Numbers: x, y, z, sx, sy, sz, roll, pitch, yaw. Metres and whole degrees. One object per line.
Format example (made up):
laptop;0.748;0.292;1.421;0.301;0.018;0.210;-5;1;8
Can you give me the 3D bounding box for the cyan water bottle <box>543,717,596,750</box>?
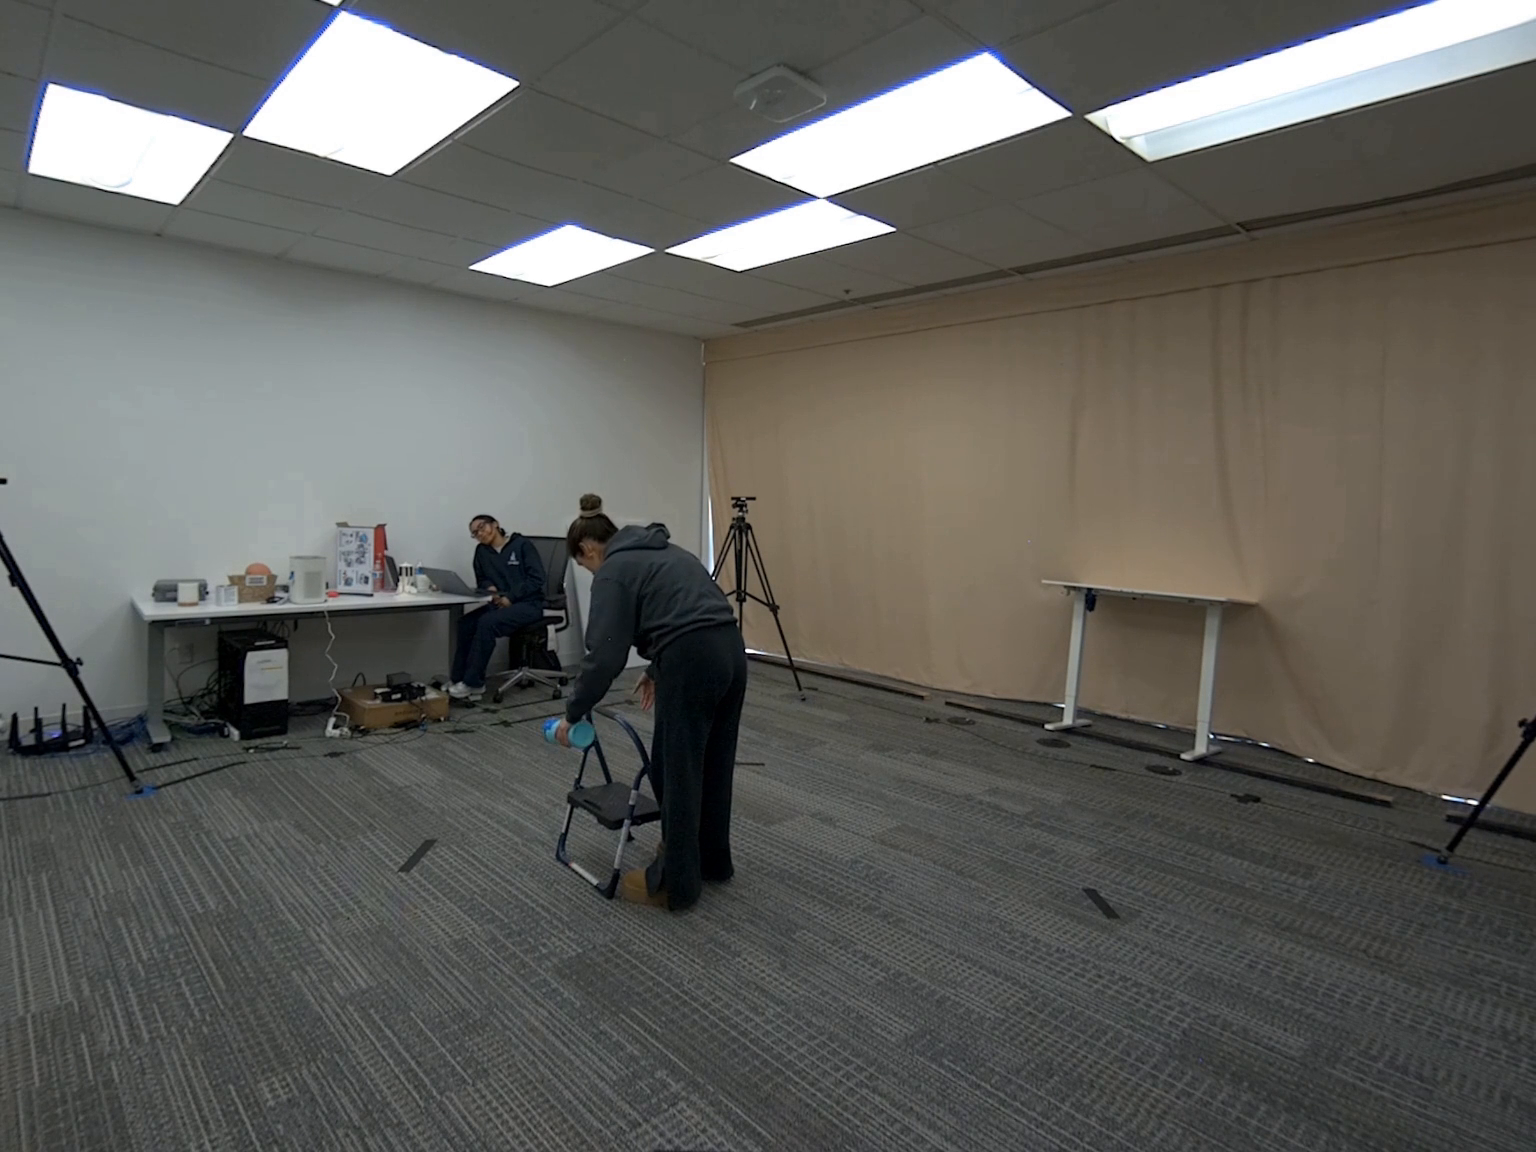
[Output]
cyan water bottle;-0.695;0.534;2.945;0.090;0.093;0.288;-2;-4;-37
